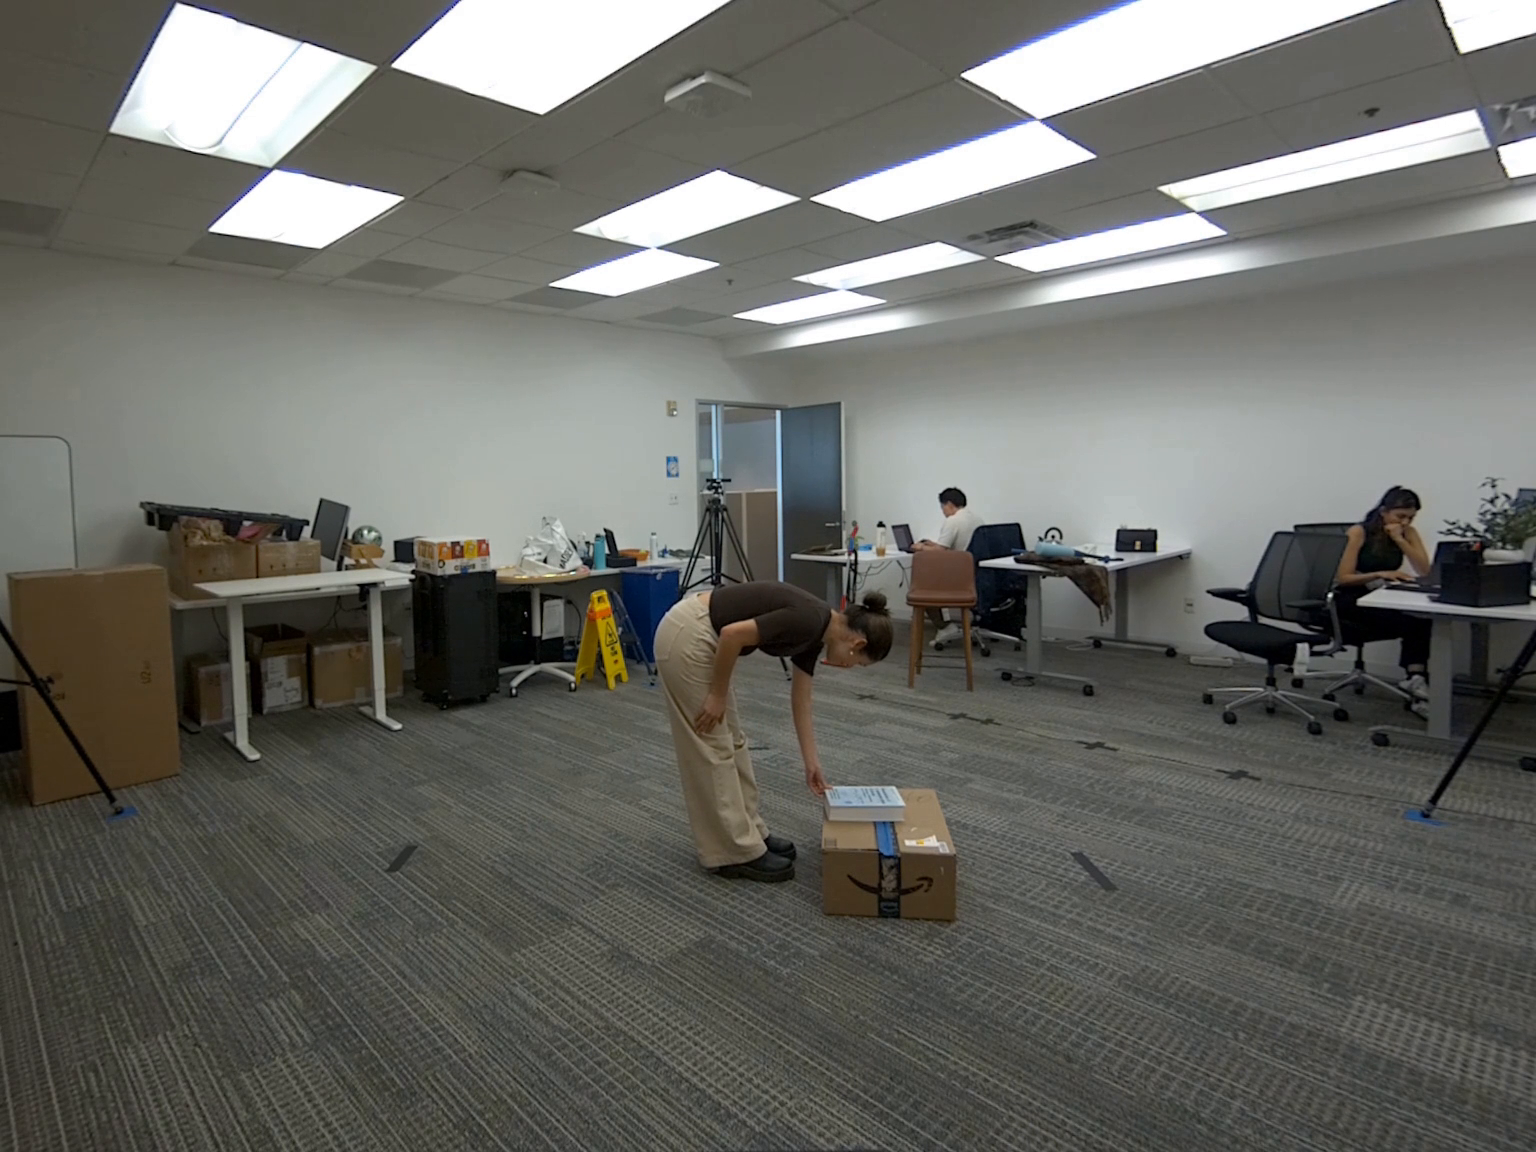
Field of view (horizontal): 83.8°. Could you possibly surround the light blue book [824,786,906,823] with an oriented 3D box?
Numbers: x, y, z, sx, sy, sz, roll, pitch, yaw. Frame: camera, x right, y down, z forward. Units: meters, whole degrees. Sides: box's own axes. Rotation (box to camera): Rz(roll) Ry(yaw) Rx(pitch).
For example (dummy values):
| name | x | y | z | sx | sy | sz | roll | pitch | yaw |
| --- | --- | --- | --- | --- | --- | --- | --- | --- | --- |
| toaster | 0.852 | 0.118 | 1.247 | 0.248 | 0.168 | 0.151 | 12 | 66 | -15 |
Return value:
| name | x | y | z | sx | sy | sz | roll | pitch | yaw |
| --- | --- | --- | --- | --- | --- | --- | --- | --- | --- |
| light blue book | 0.334 | 0.800 | 3.030 | 0.261 | 0.059 | 0.192 | 0 | 7 | 0 |
